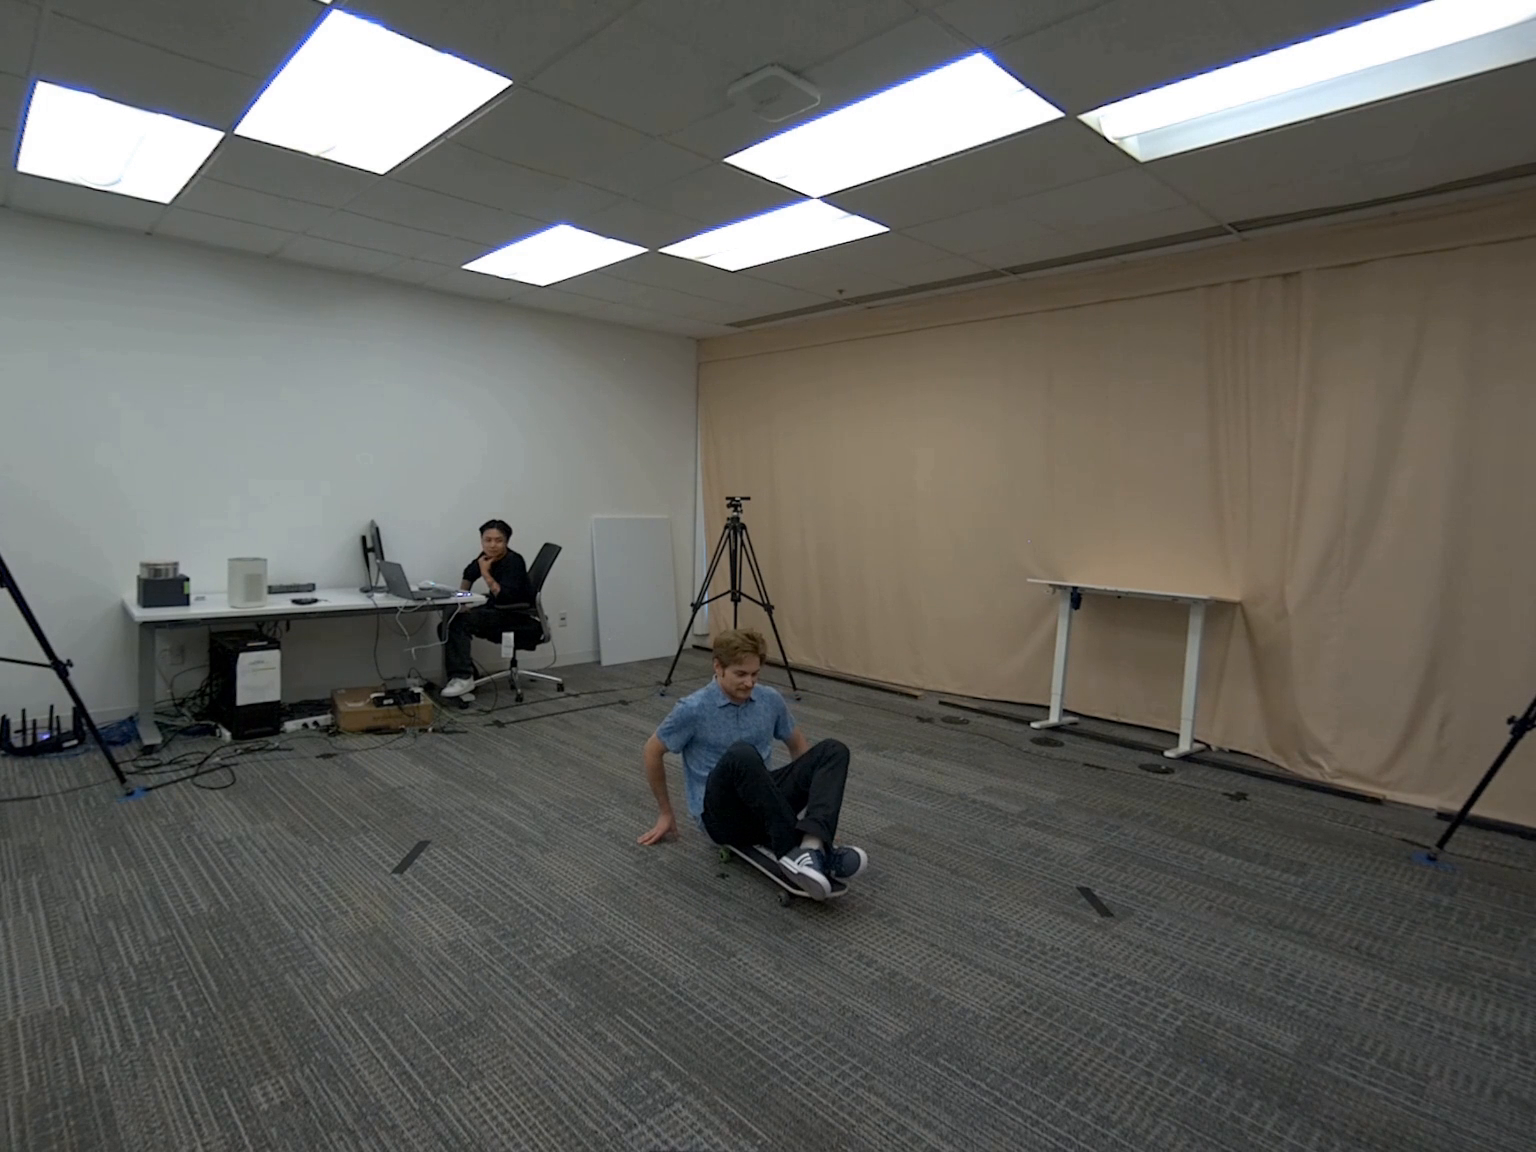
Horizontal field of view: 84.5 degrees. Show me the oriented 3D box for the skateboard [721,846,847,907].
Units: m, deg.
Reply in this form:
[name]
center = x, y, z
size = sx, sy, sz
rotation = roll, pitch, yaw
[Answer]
[skateboard]
center = 0.000, 1.069, 3.094
size = 0.189, 0.110, 0.804
rotation = 4, 3, -32
